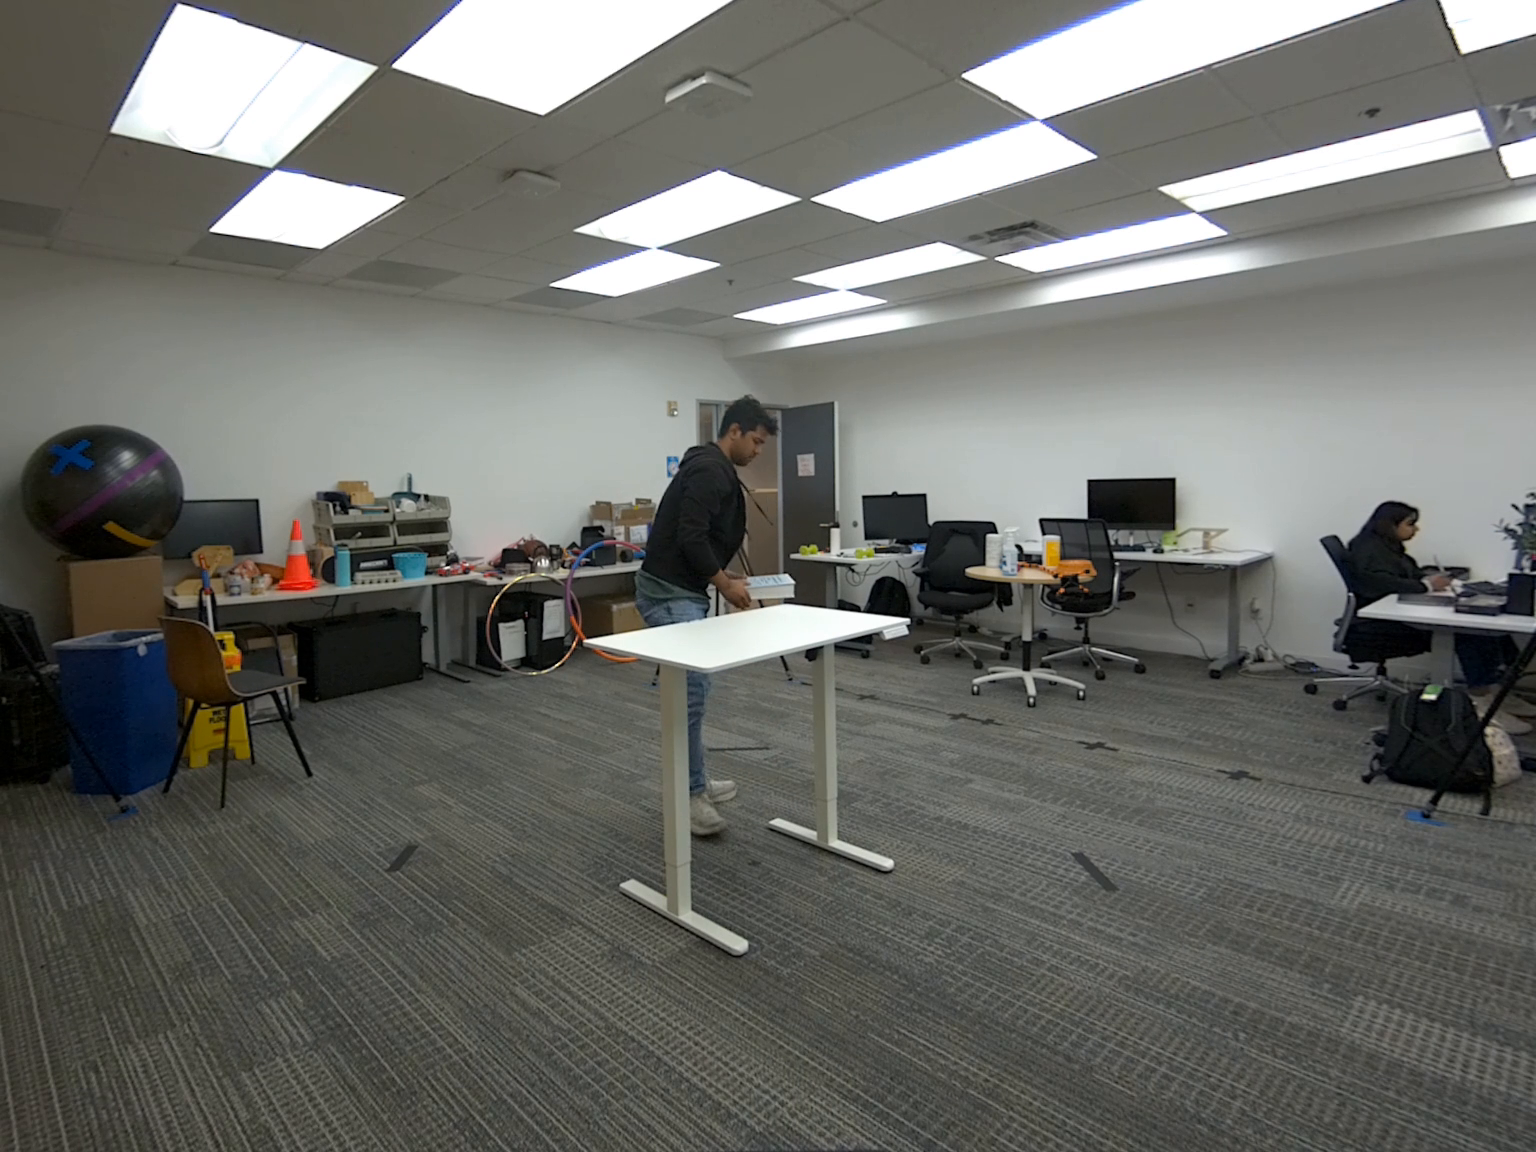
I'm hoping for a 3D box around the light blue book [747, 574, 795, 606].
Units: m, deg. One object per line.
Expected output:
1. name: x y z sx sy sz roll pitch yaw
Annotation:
1. light blue book: -0.032 0.063 3.636 0.260 0.058 0.194 -4 12 -4
